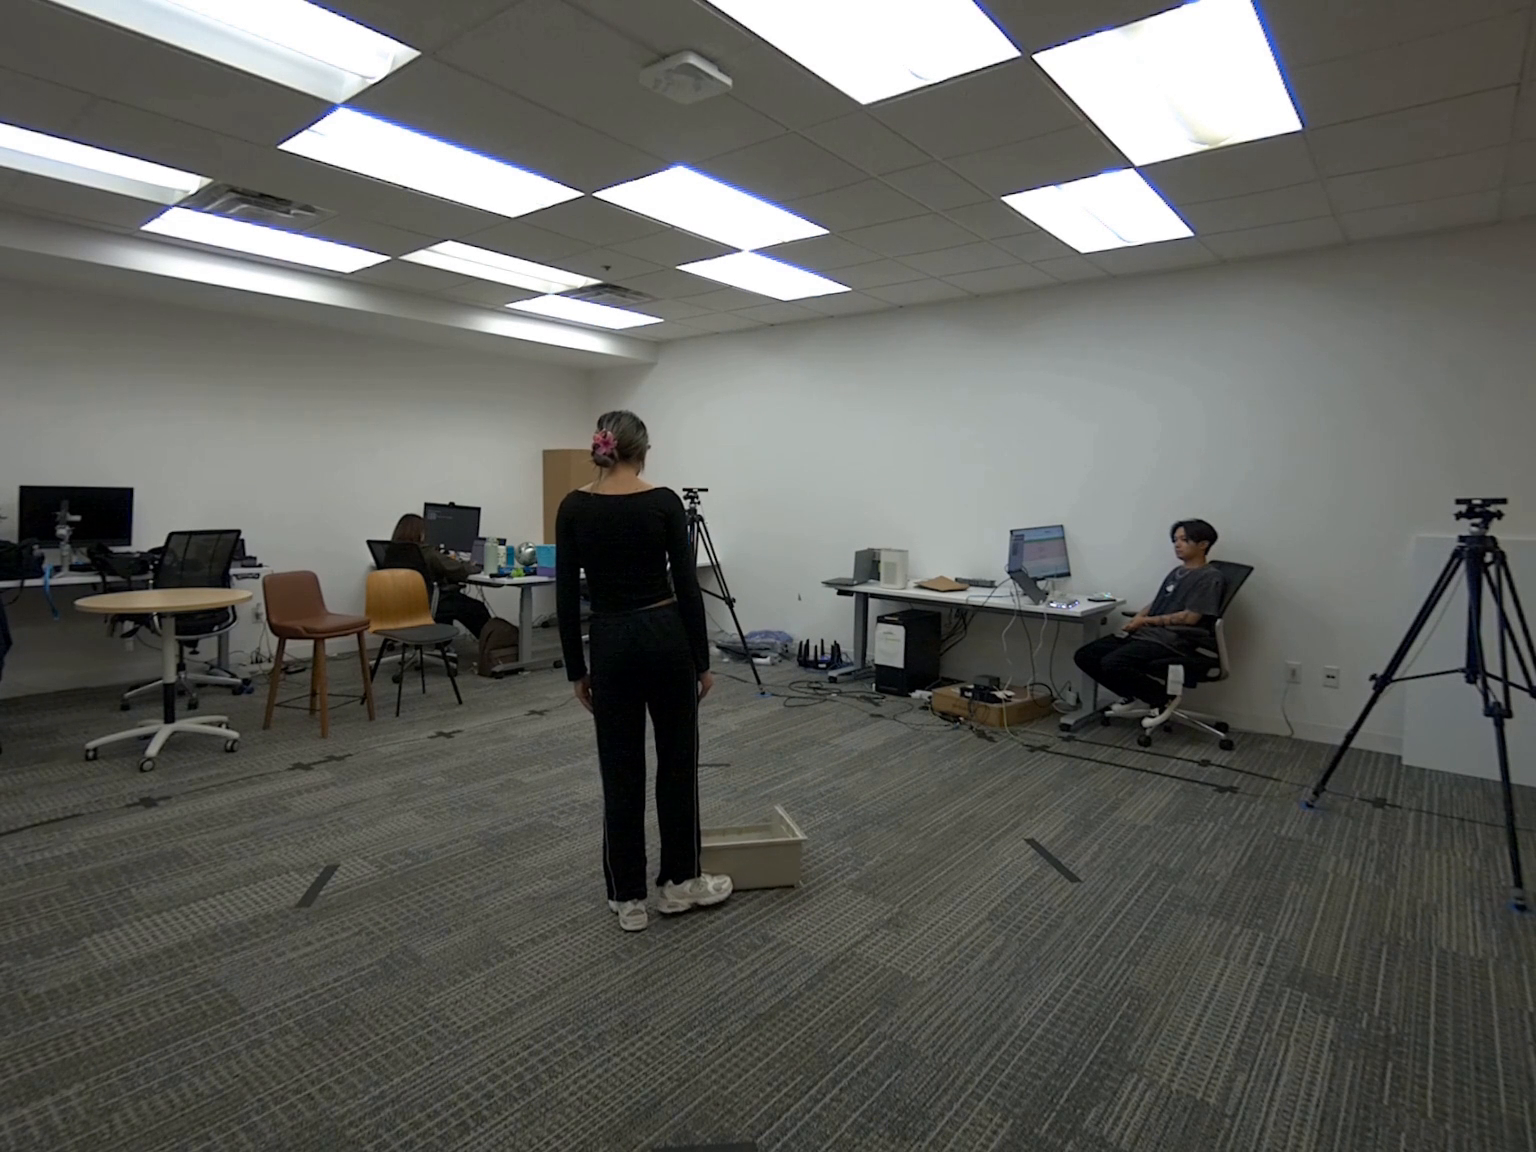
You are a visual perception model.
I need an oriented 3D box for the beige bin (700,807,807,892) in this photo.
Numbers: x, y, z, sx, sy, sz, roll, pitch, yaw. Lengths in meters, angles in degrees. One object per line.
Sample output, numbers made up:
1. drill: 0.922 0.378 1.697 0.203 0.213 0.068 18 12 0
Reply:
1. beige bin: -0.126 0.984 3.104 0.416 0.188 0.385 0 5 -15
